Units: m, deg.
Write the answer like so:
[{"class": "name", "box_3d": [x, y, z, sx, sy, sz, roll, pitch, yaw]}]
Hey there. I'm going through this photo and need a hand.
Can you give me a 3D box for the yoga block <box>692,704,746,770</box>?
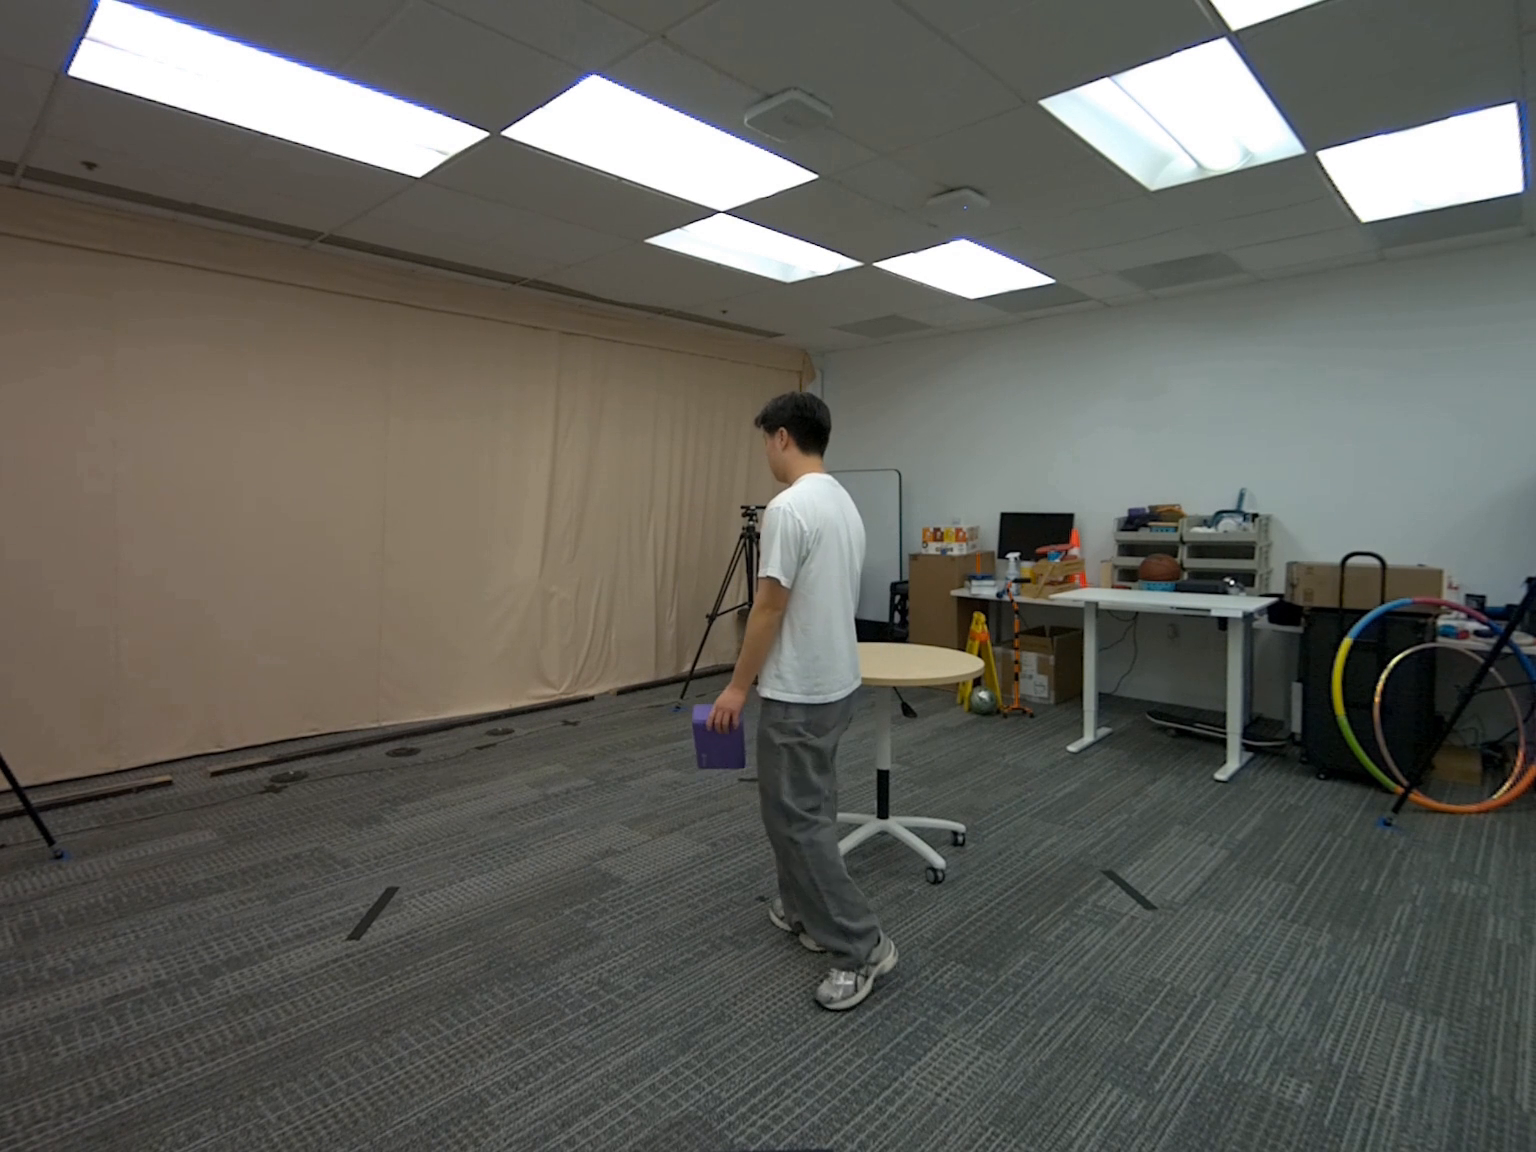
[{"class": "yoga block", "box_3d": [-0.142, 0.494, 2.559, 0.149, 0.225, 0.077, 0, 32, 3]}]
